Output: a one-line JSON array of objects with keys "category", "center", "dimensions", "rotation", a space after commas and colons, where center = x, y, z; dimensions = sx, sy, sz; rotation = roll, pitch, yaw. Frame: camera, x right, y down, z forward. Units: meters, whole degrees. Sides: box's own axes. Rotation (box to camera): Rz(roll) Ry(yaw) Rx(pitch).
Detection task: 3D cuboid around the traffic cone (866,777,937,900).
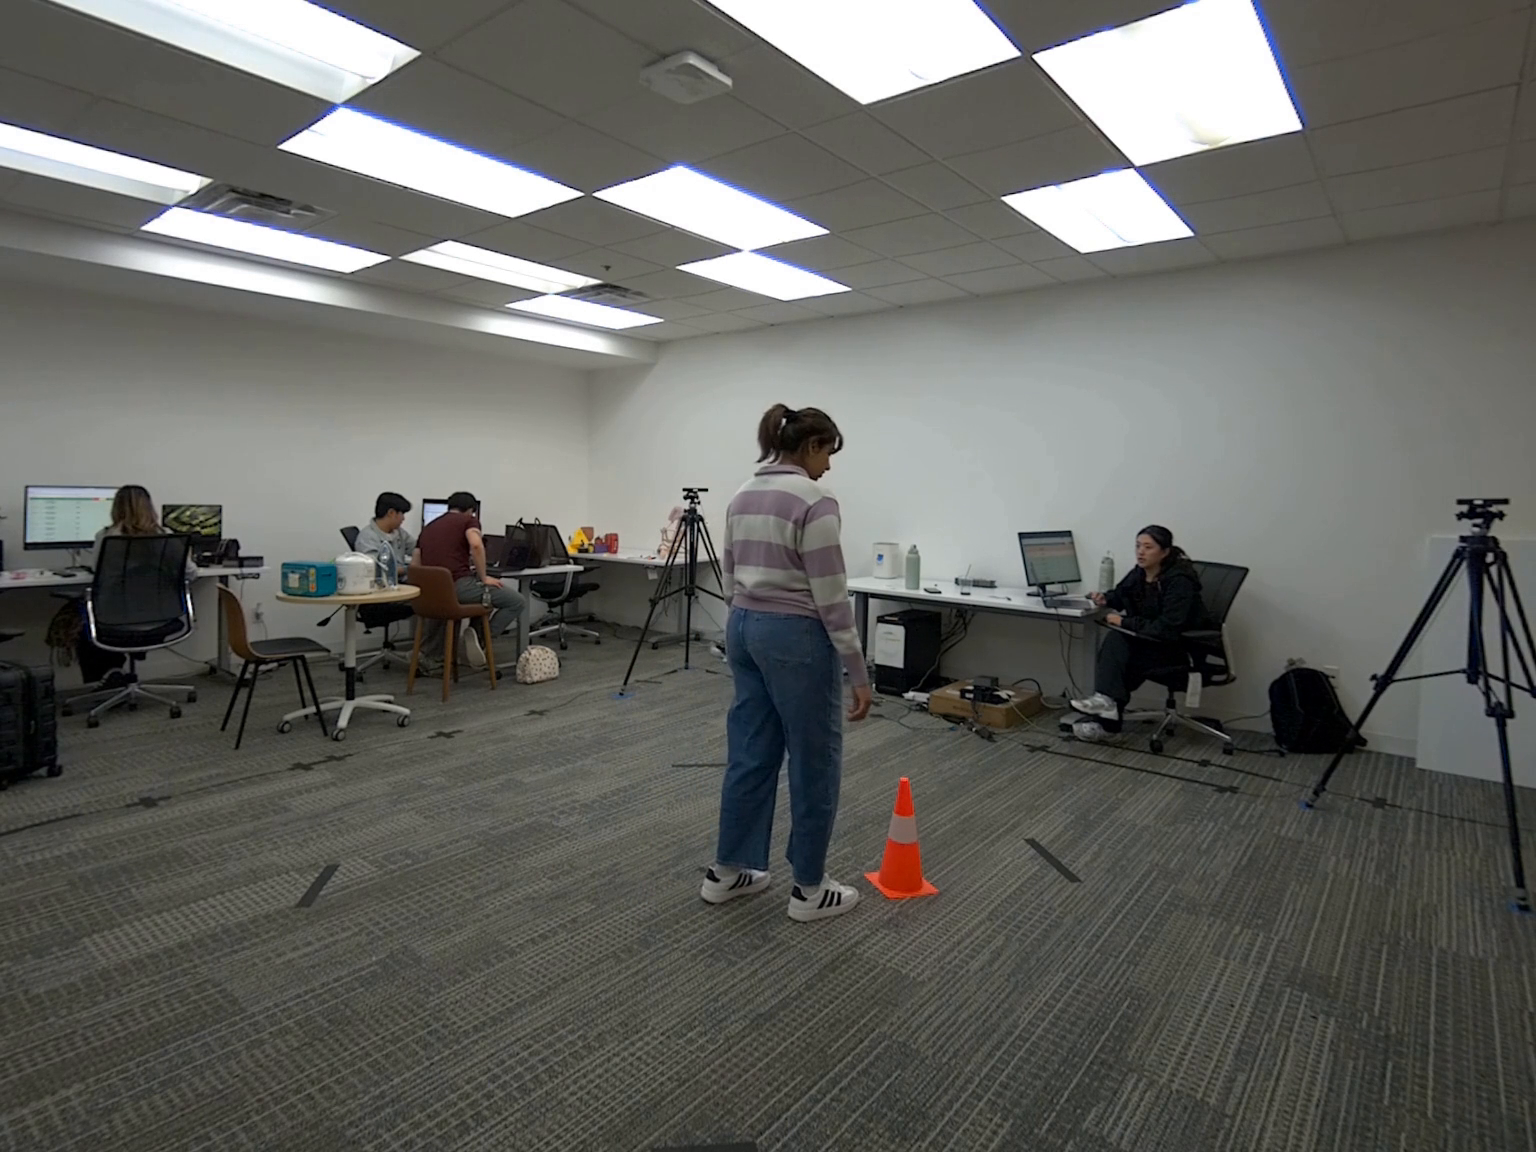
[{"category": "traffic cone", "center": [0.471, 0.909, 3.020], "dimensions": [0.199, 0.382, 0.210], "rotation": [0, 6, -19]}]
